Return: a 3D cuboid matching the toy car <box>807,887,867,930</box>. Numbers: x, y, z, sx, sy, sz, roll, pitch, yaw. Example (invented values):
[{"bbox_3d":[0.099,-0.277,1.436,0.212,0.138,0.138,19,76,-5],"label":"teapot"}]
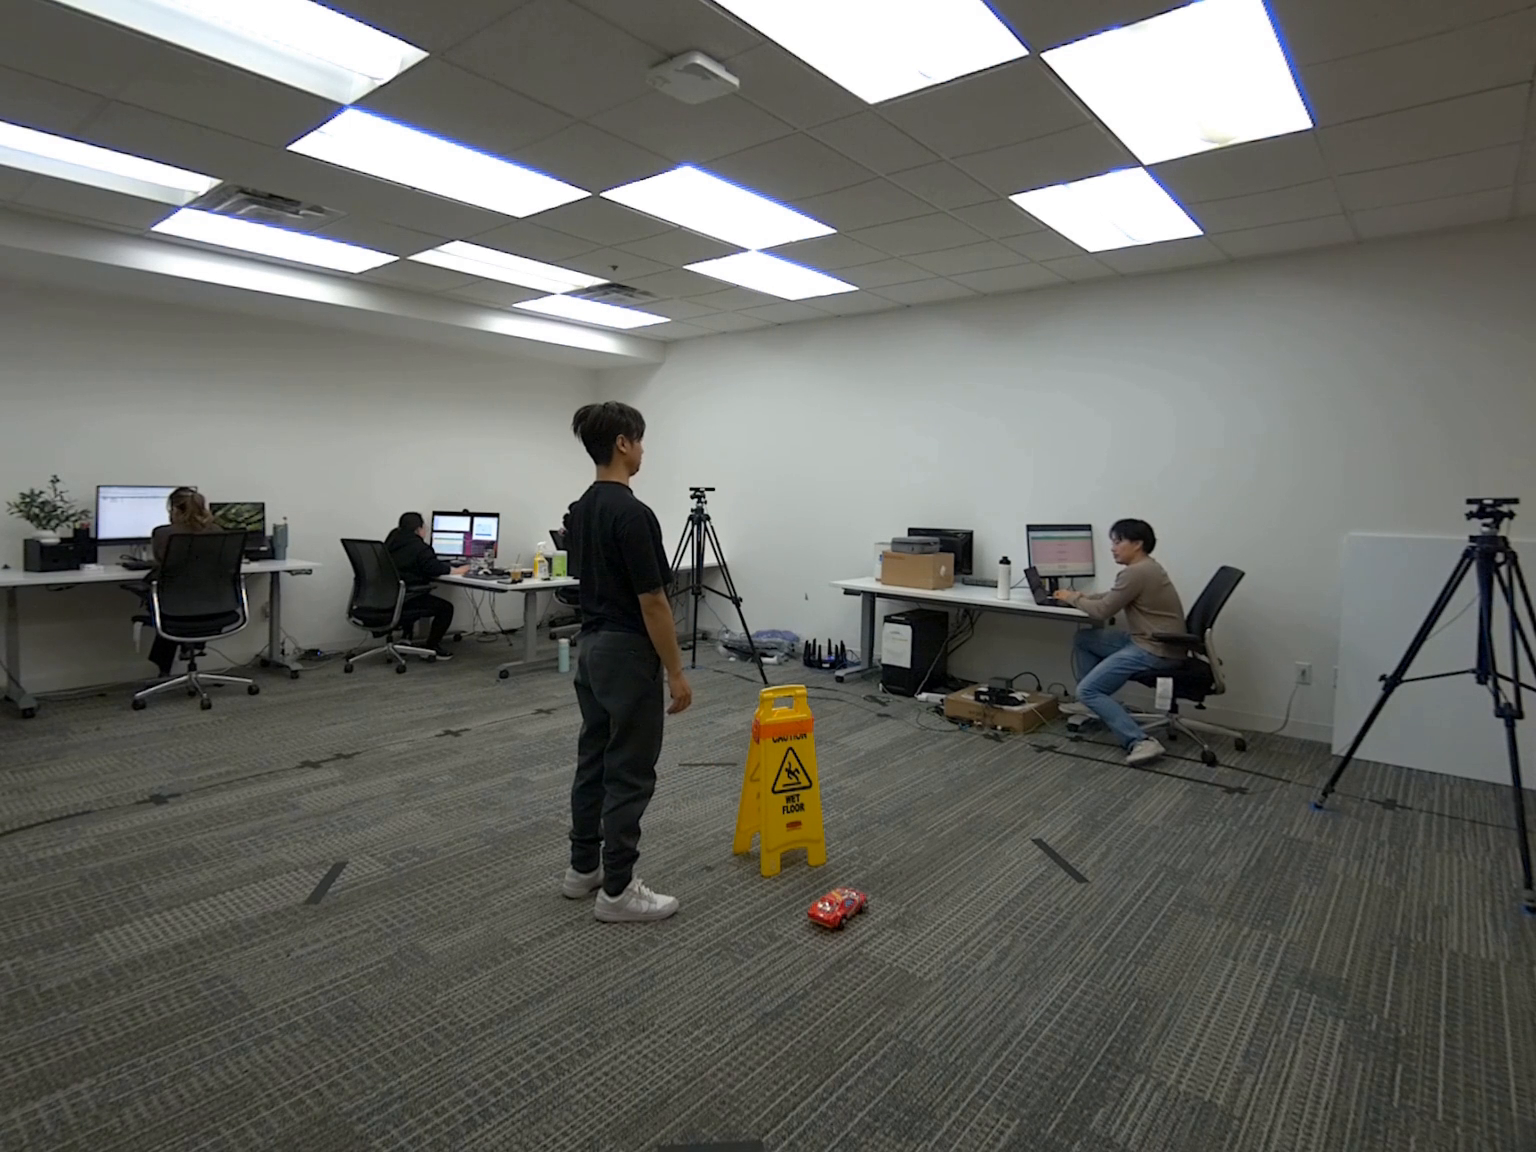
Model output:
[{"bbox_3d":[0.212,1.082,2.759,0.135,0.083,0.245,6,-4,37],"label":"toy car"}]
